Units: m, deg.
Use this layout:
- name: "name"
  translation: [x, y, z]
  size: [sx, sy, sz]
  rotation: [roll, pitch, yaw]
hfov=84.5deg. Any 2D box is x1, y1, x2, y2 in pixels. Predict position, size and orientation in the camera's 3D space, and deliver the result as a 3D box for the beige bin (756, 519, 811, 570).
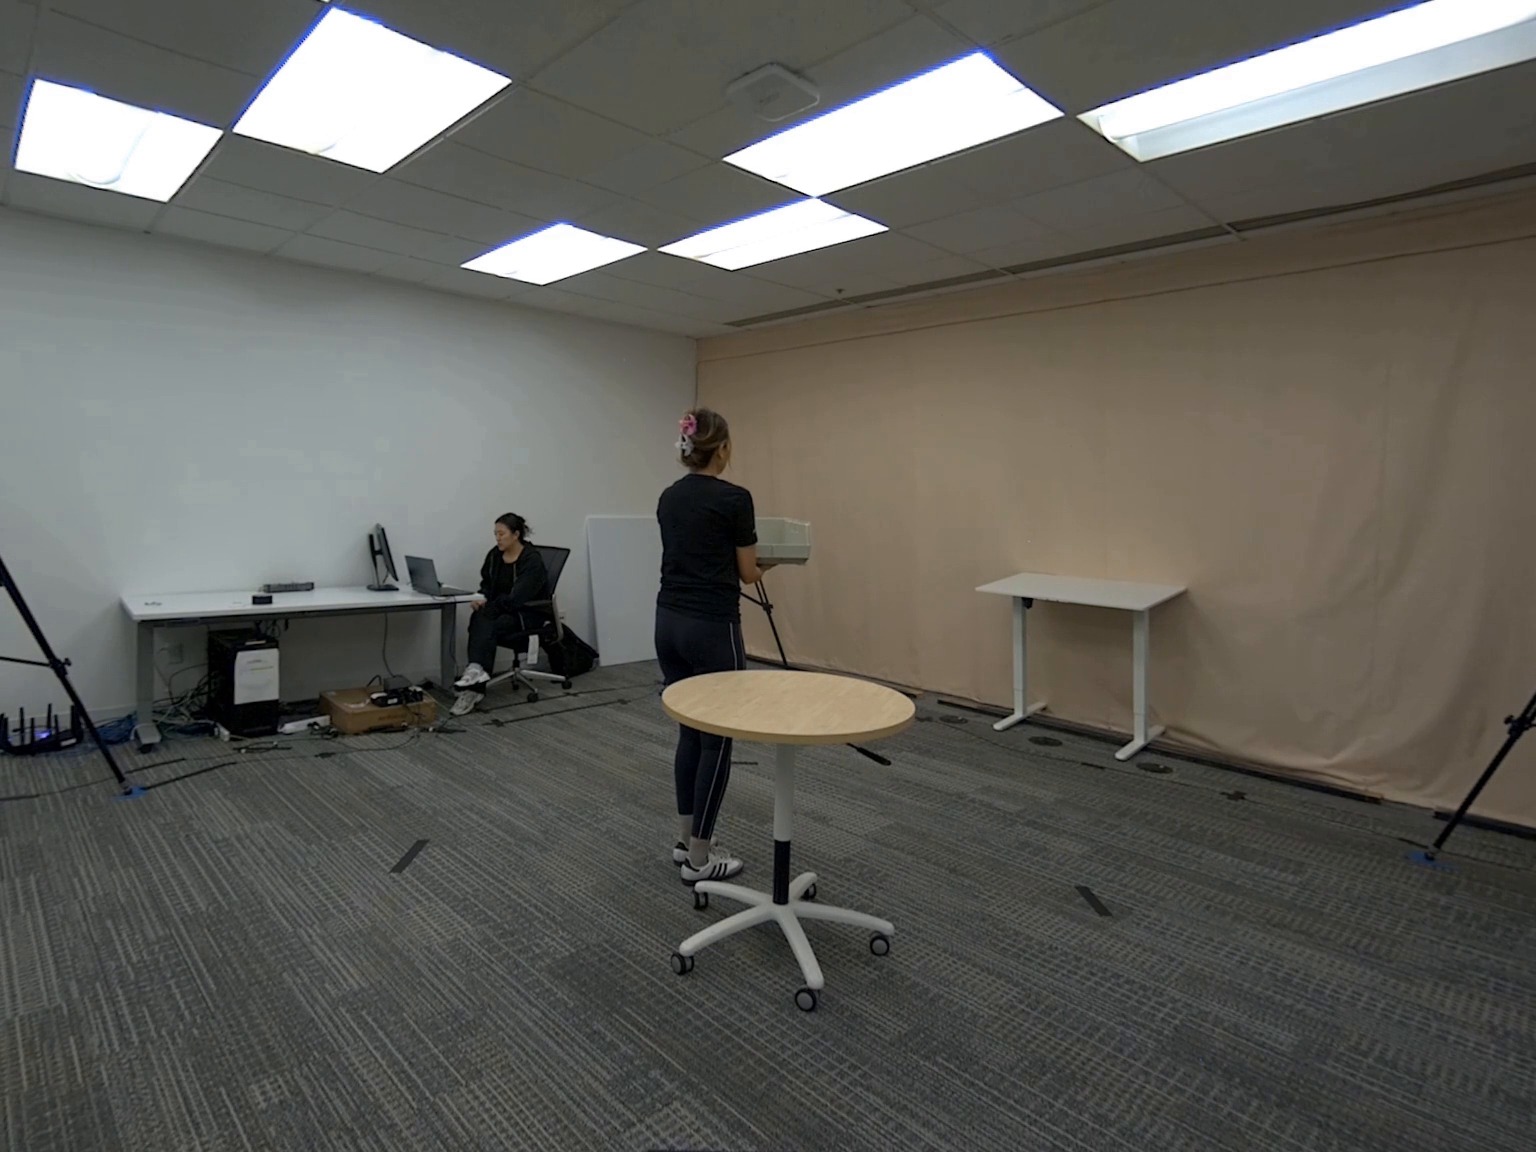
- name: "beige bin"
  translation: [-0.078, -0.144, 3.535]
  size: [0.419, 0.188, 0.381]
  rotation: [1, 4, -10]
